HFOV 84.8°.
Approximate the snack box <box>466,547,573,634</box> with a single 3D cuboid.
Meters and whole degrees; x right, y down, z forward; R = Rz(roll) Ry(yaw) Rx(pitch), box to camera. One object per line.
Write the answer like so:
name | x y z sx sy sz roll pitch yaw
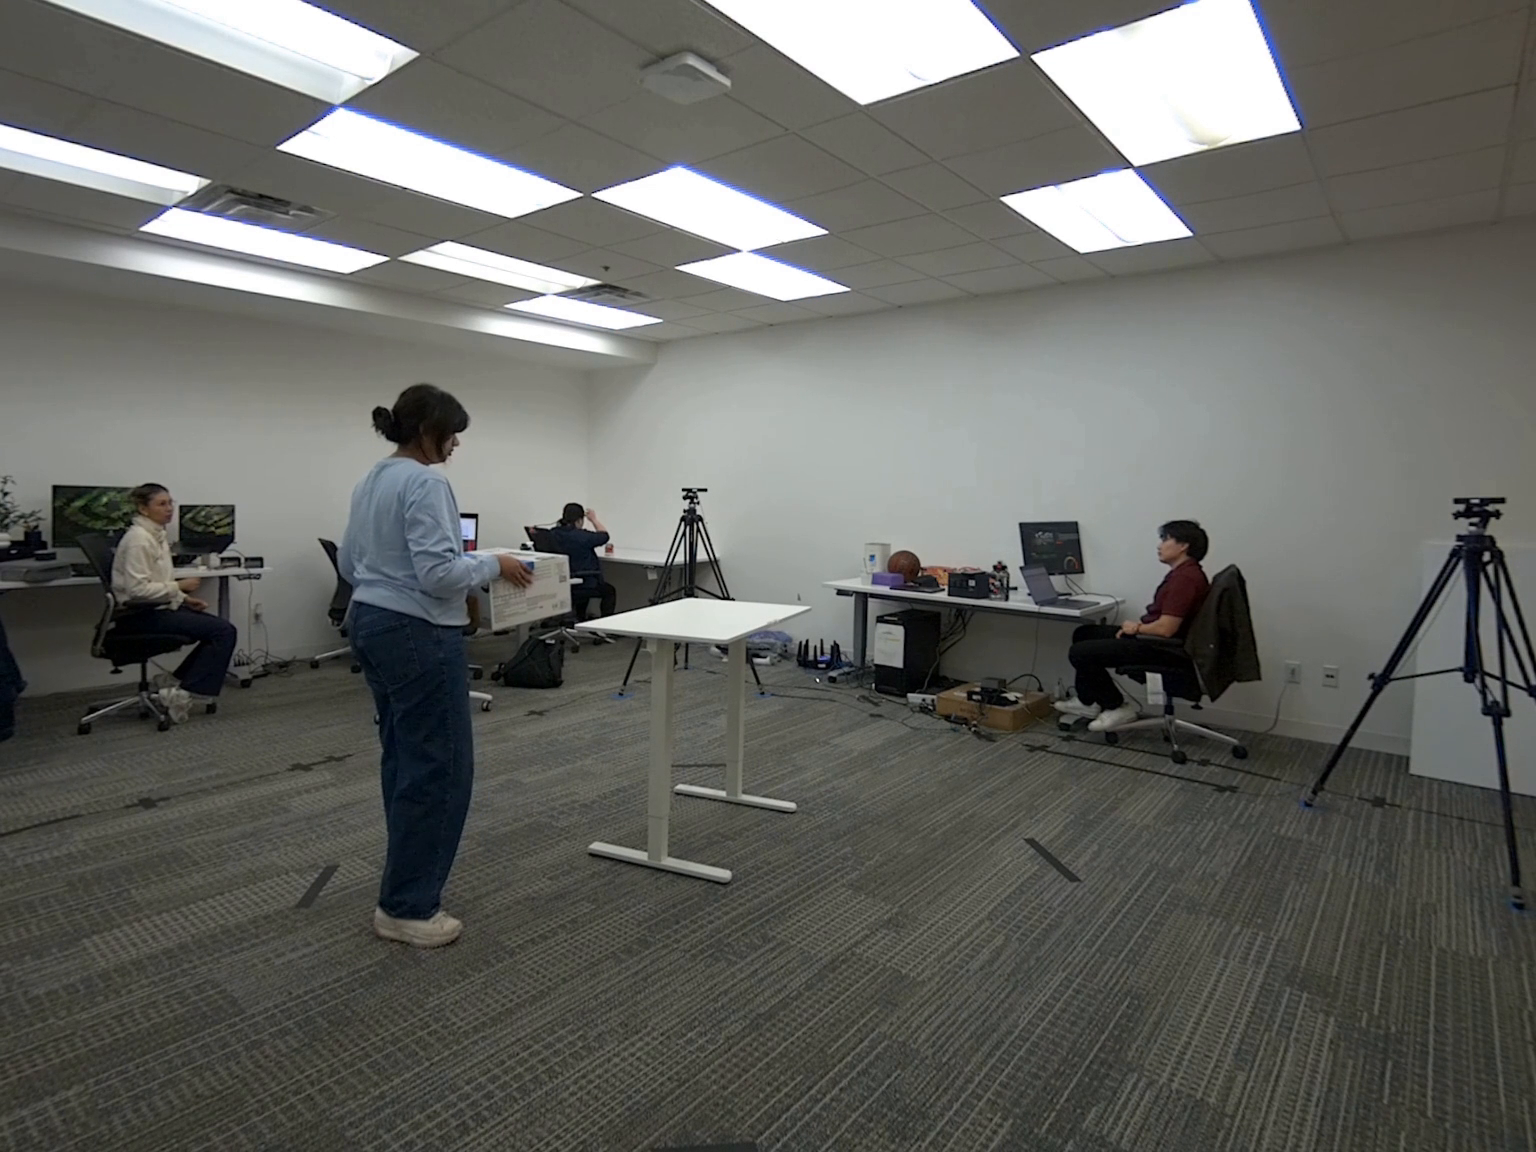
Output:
snack box | -0.966 0.036 2.986 0.419 0.204 0.332 6 13 37
